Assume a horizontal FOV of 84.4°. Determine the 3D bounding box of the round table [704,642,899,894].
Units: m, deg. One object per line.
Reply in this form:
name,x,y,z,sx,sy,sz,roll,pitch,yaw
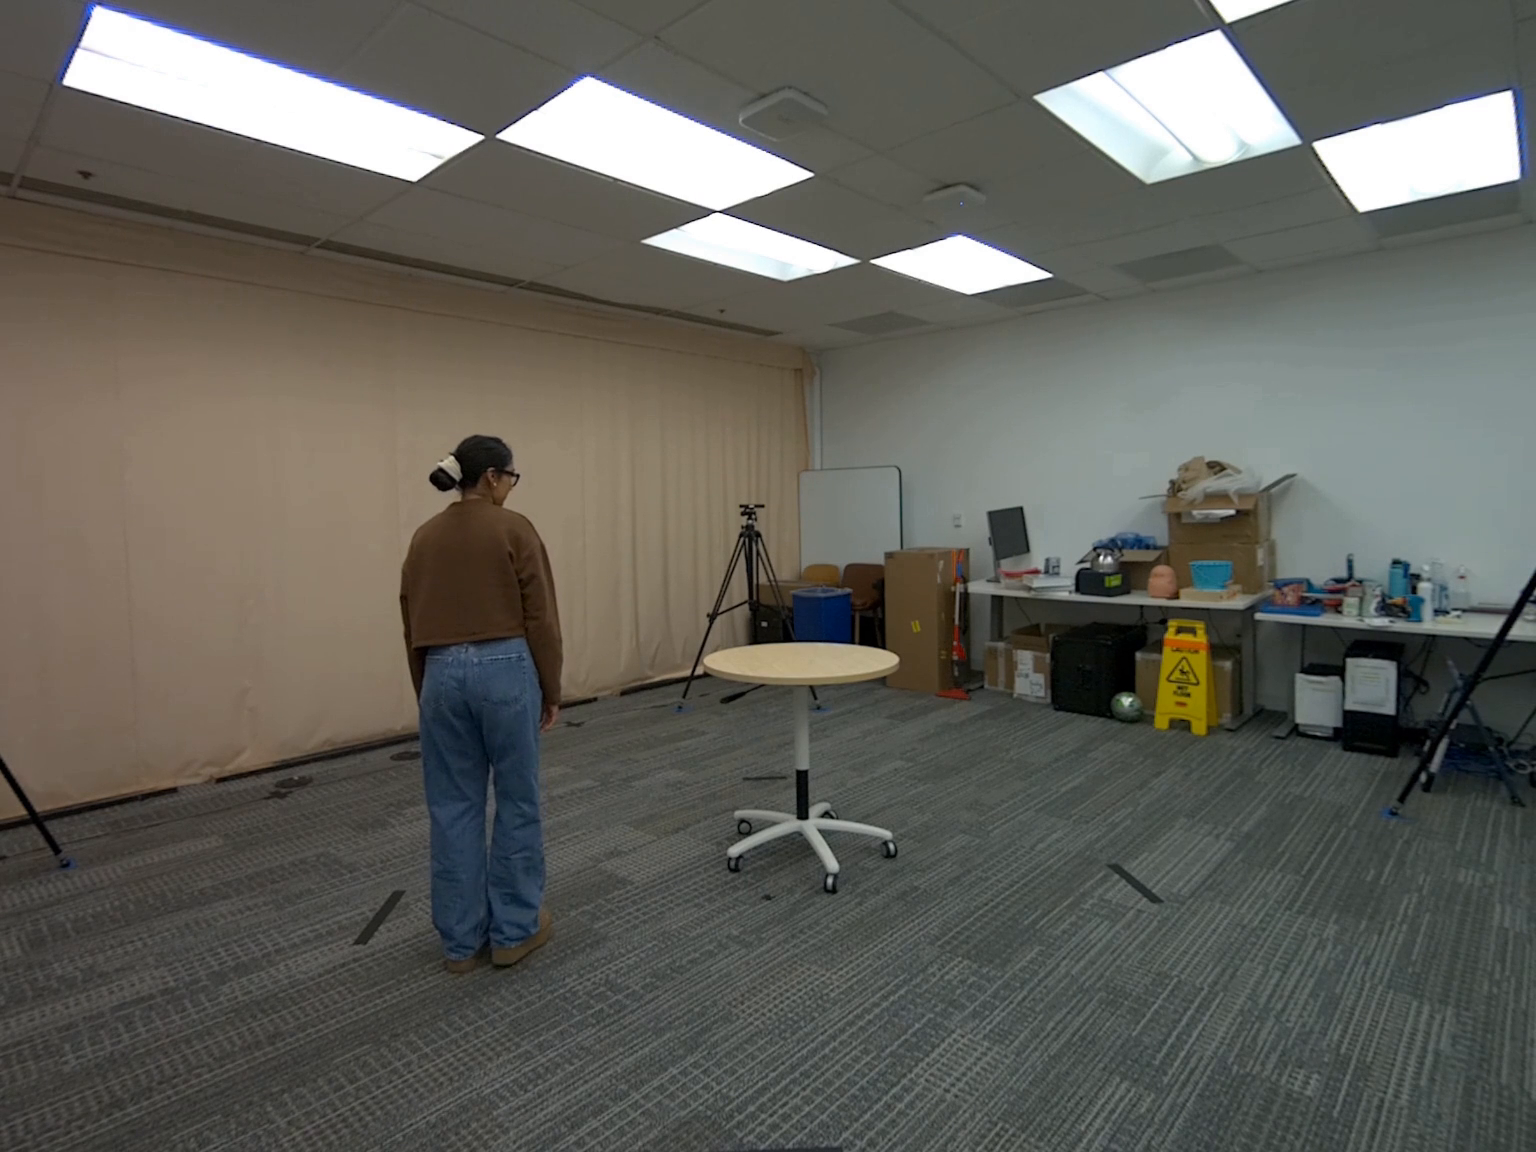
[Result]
round table,0.148,0.713,3.346,0.784,0.785,0.788,-1,4,-2
